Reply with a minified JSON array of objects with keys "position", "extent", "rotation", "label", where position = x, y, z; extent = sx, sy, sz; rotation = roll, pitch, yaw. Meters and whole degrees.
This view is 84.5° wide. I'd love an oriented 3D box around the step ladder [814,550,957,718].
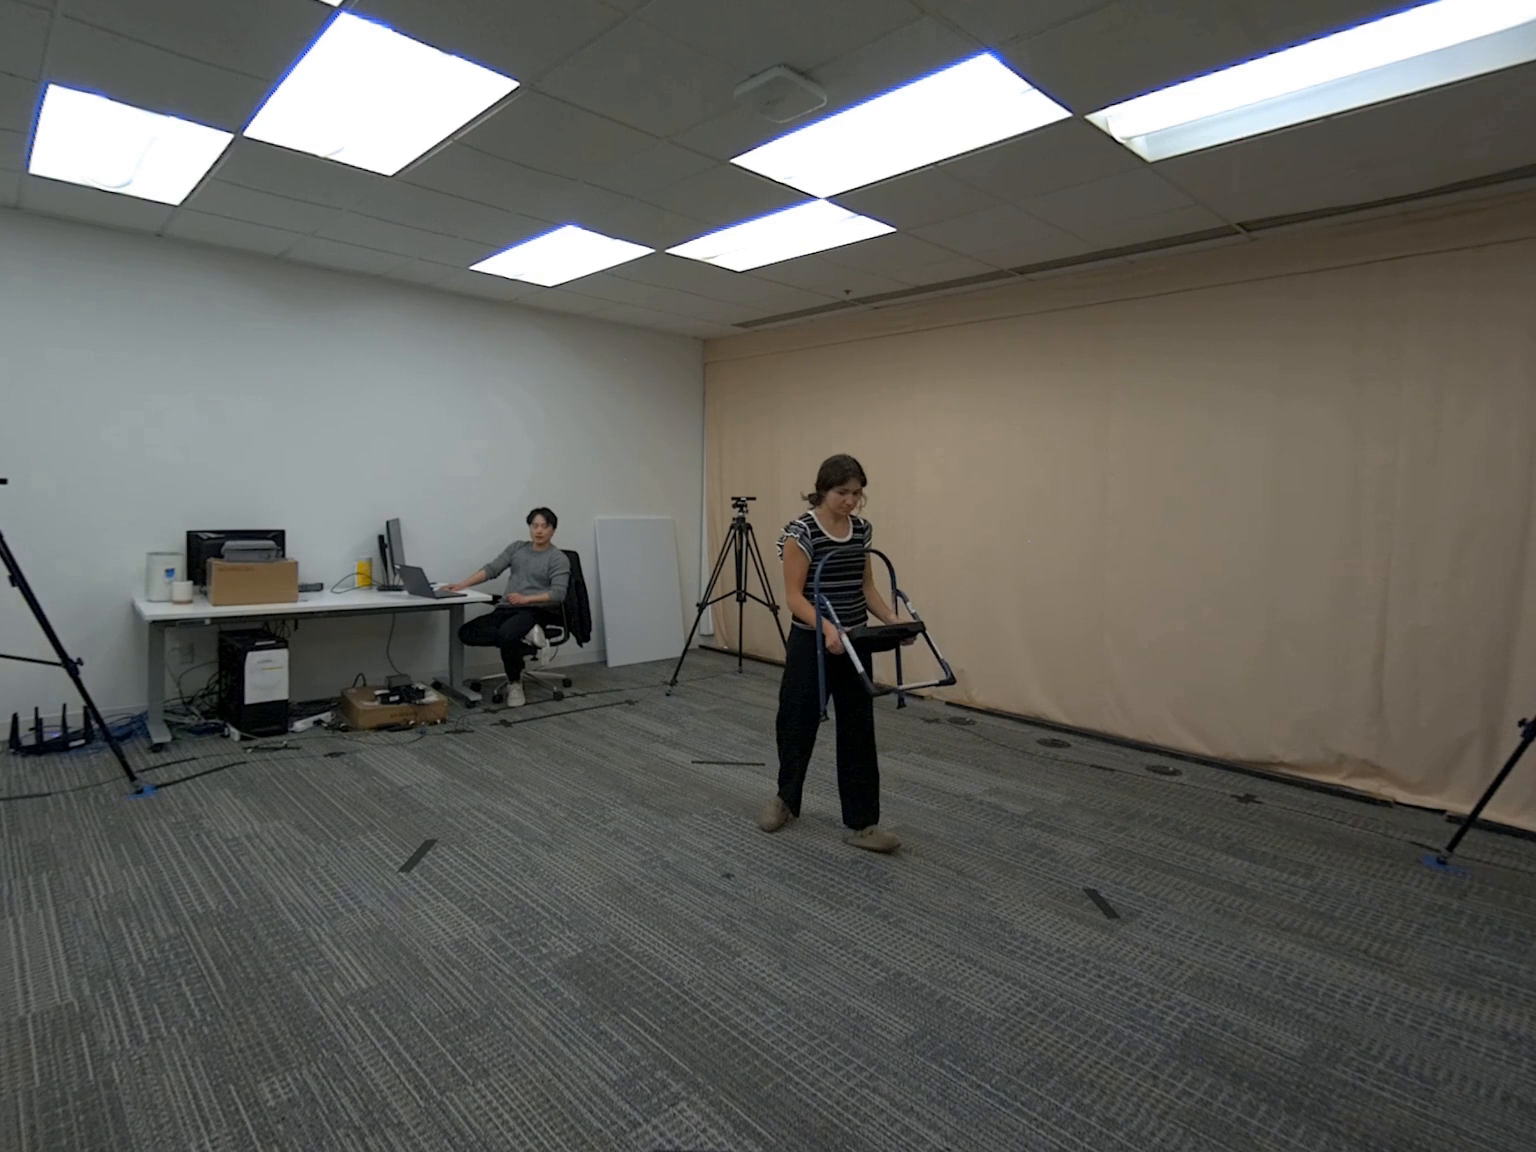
[{"position":[0.365,0.201,3.268],"extent":[0.421,0.617,0.350],"rotation":[-3,-23,-34],"label":"step ladder"}]
